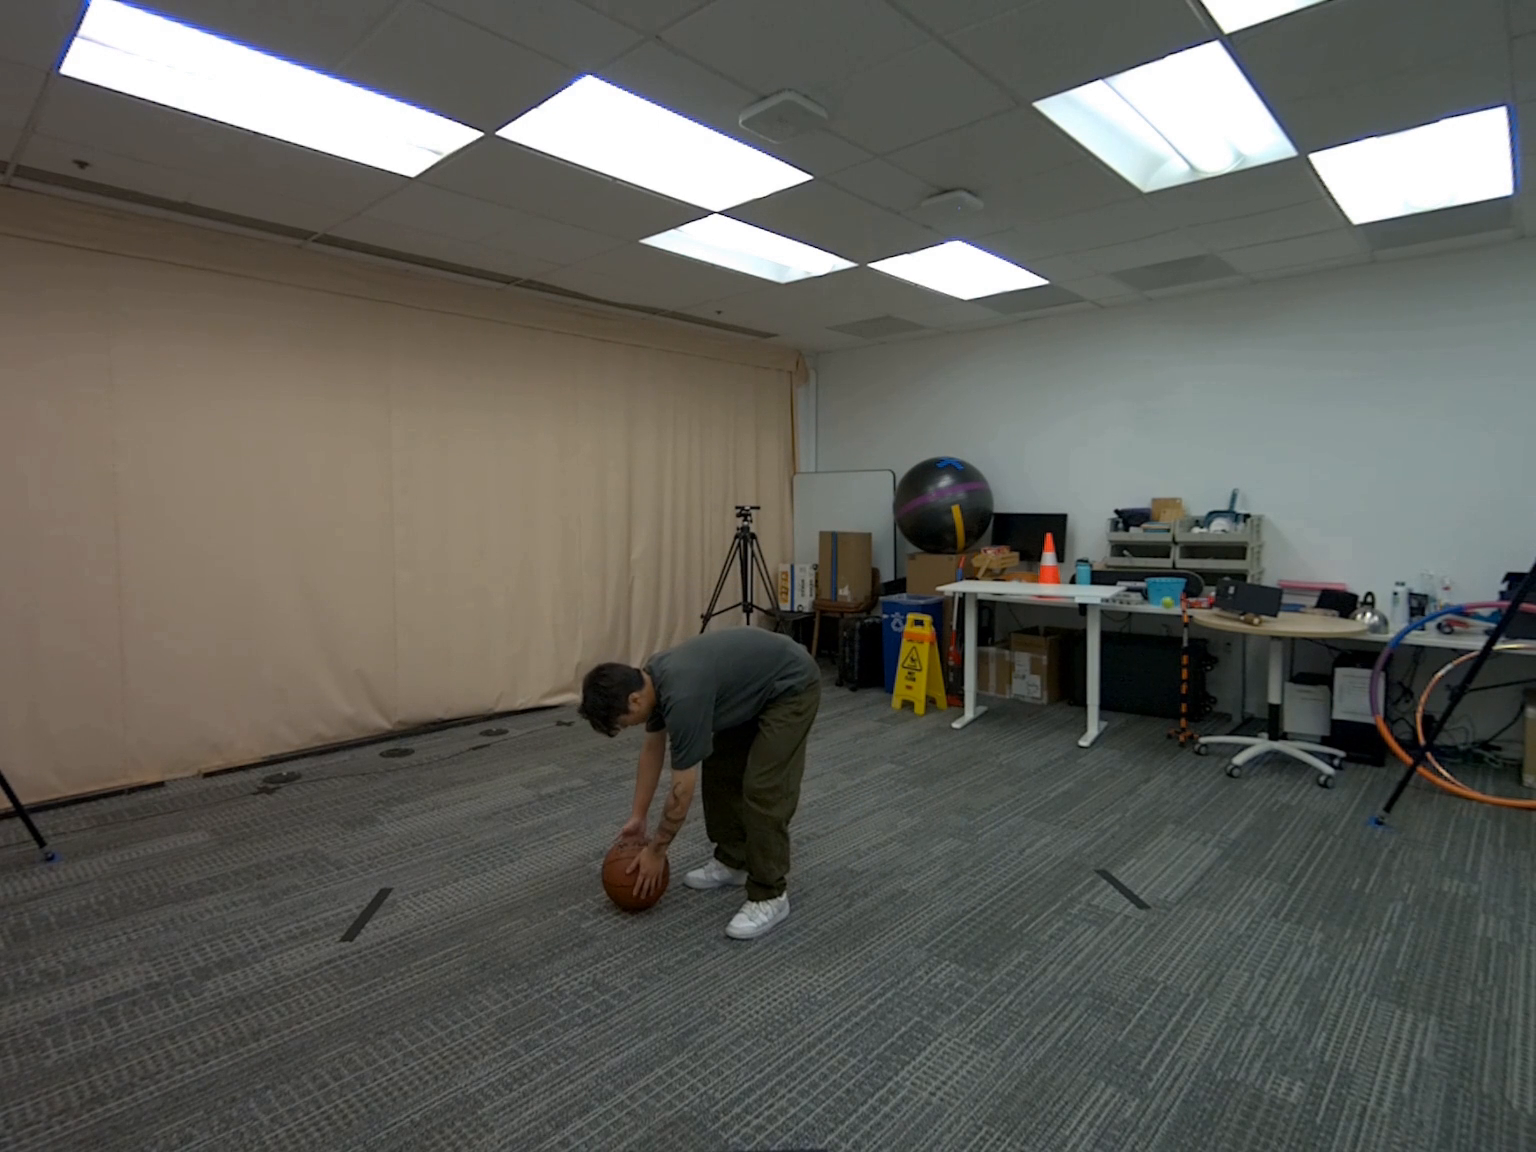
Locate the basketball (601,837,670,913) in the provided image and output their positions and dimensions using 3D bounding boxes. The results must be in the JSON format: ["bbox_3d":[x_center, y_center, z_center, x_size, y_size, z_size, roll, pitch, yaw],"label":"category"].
[{"bbox_3d":[-0.468,1.035,2.930,0.236,0.235,0.237,0,4,-2],"label":"basketball"}]
